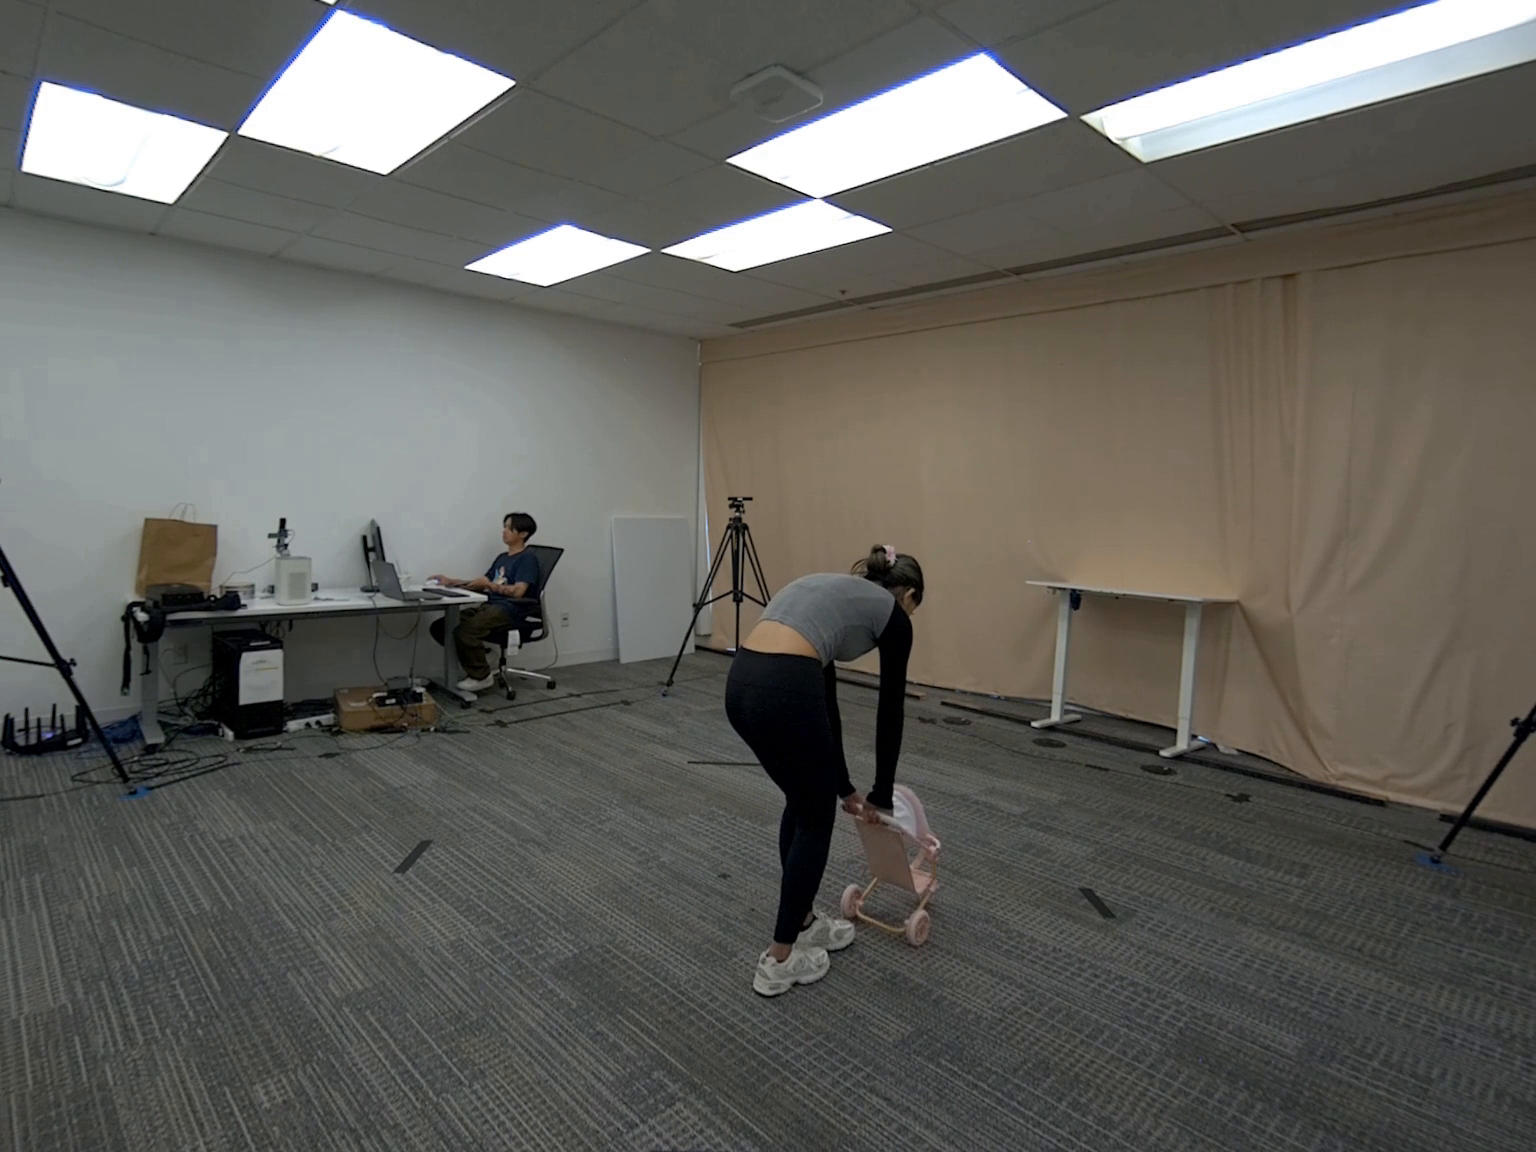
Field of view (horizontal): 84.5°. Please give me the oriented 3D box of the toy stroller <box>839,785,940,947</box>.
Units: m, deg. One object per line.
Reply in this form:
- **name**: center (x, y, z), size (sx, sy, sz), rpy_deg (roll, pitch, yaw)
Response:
- **toy stroller**: center (0.423, 0.921, 2.772), size (0.289, 0.529, 0.336), rpy_deg (6, 18, 44)
